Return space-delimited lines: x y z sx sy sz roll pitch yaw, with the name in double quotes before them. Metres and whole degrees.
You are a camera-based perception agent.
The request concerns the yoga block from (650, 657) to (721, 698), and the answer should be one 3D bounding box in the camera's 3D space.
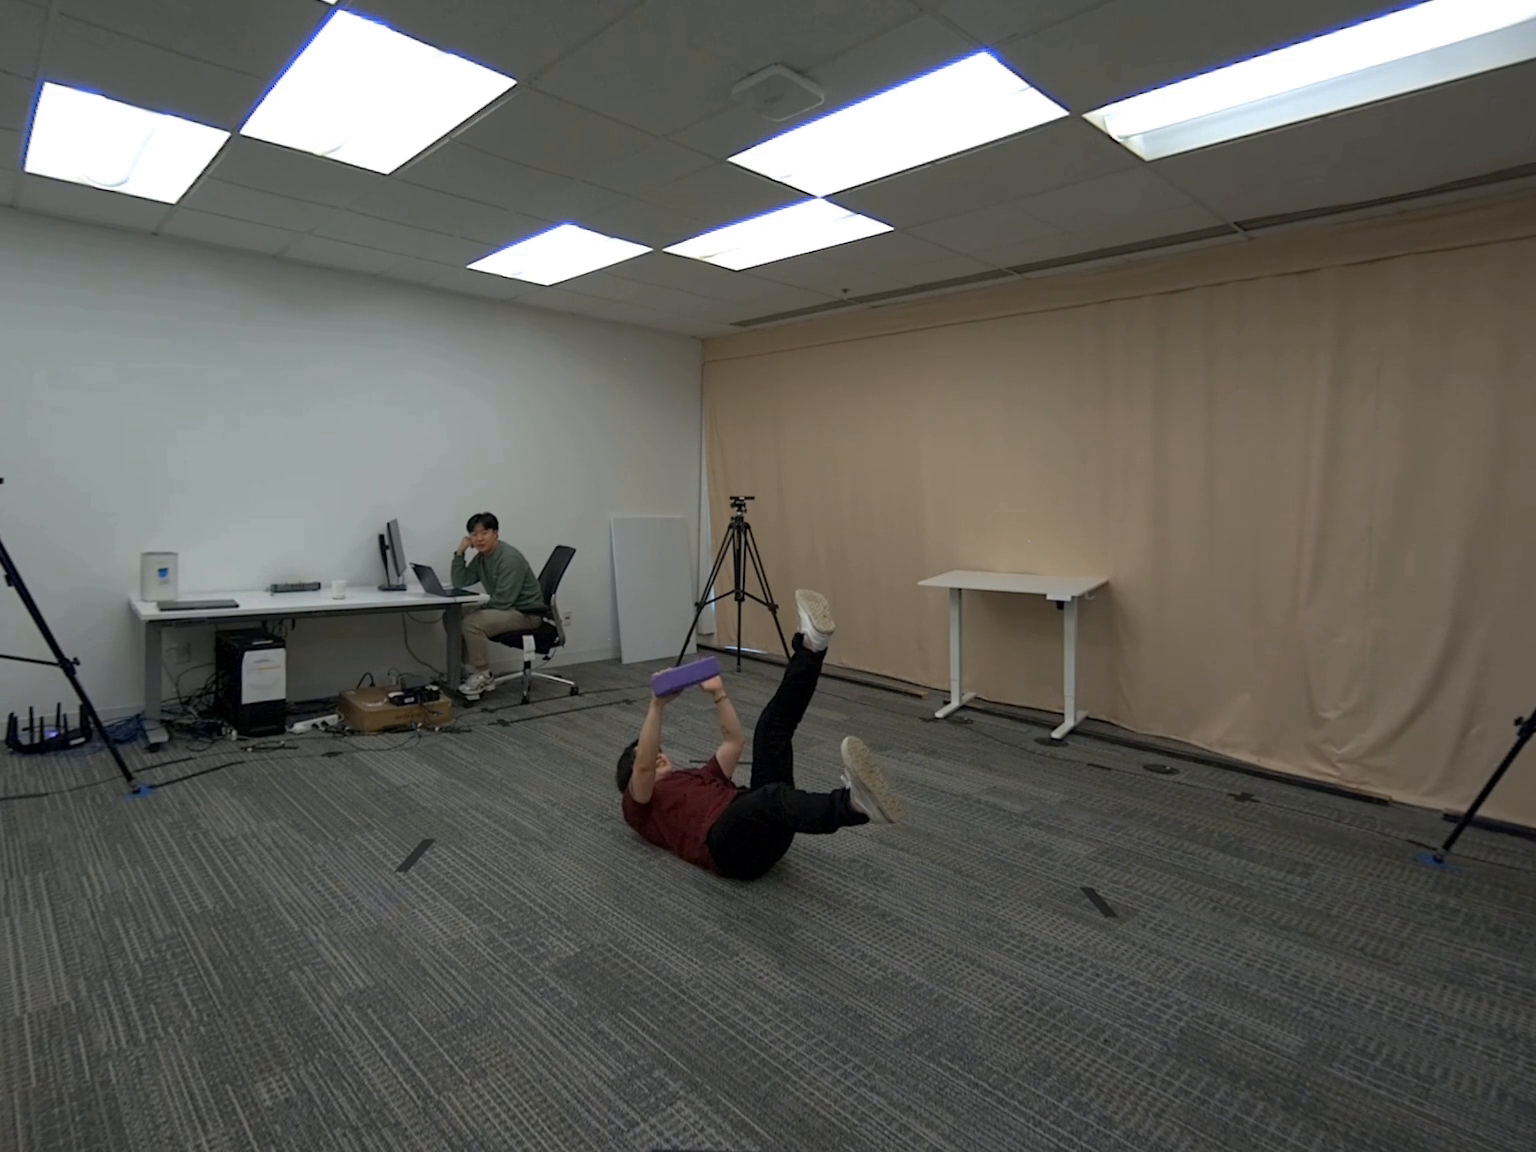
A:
"yoga block" -0.320 0.384 3.211 0.226 0.077 0.150 -14 -12 -31
